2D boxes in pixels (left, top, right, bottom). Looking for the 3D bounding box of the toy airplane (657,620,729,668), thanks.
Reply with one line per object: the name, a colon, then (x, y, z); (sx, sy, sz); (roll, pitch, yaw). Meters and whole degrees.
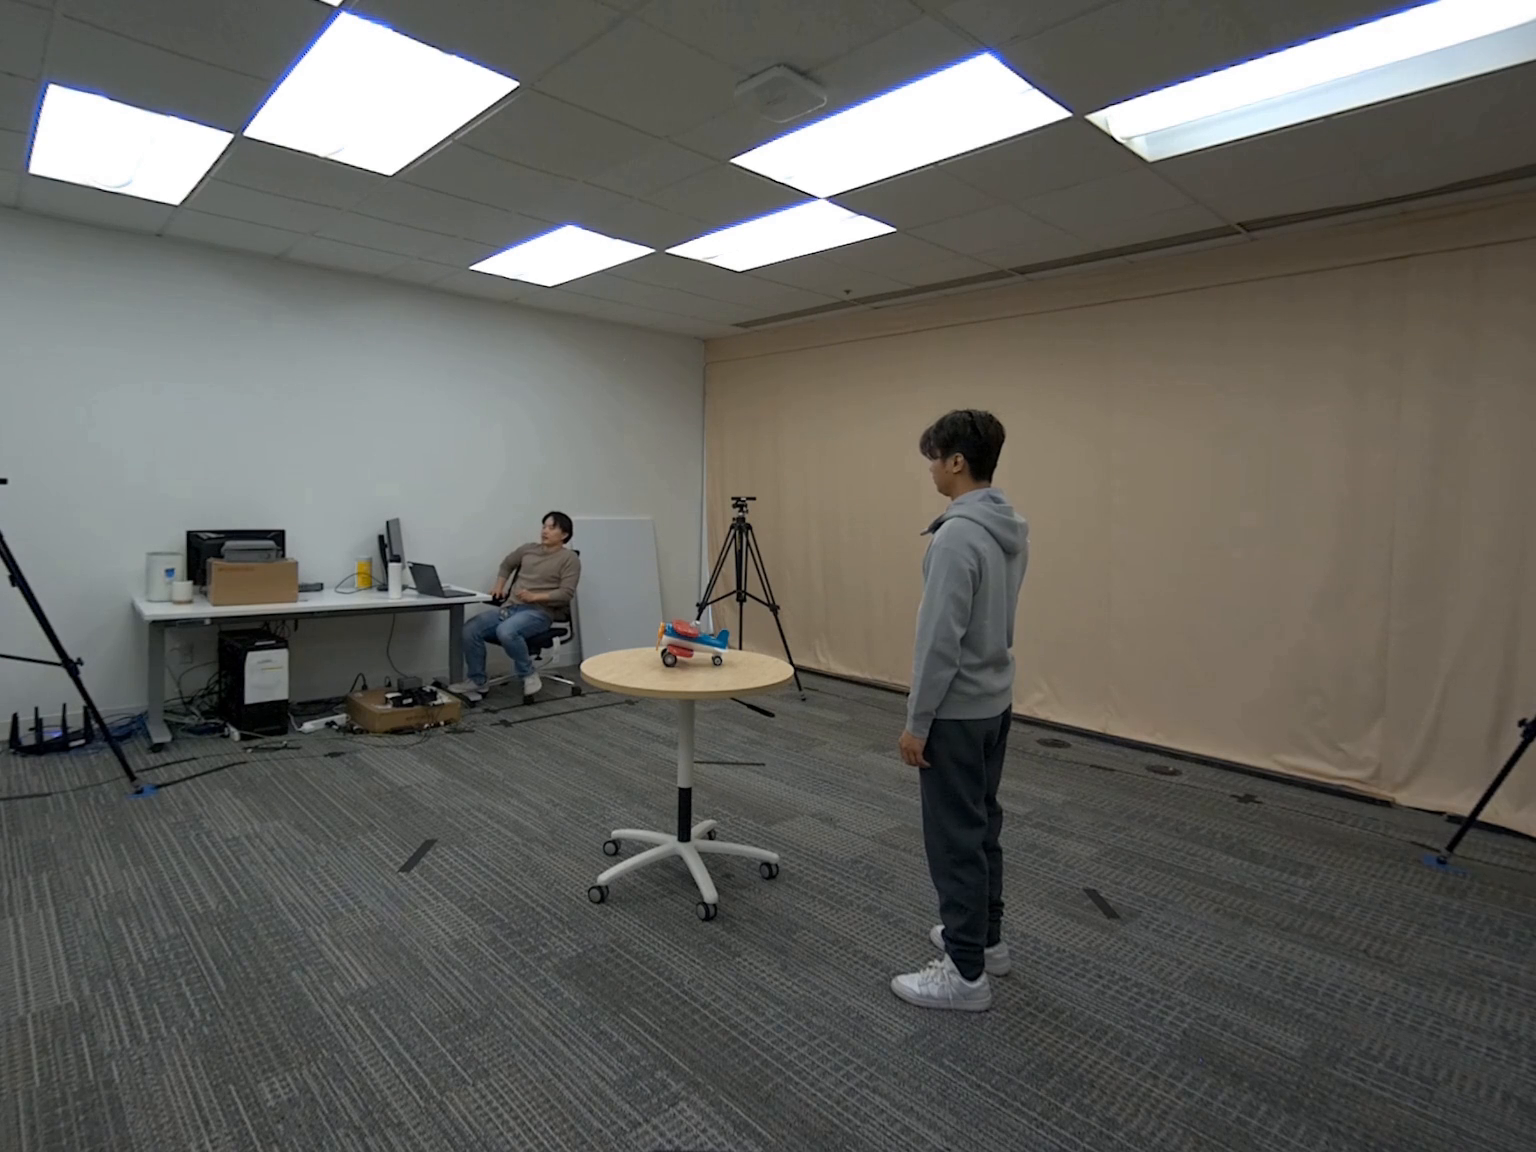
toy airplane: (-0.287, 0.245, 3.081); (0.253, 0.156, 0.257); (-2, 5, -36)
